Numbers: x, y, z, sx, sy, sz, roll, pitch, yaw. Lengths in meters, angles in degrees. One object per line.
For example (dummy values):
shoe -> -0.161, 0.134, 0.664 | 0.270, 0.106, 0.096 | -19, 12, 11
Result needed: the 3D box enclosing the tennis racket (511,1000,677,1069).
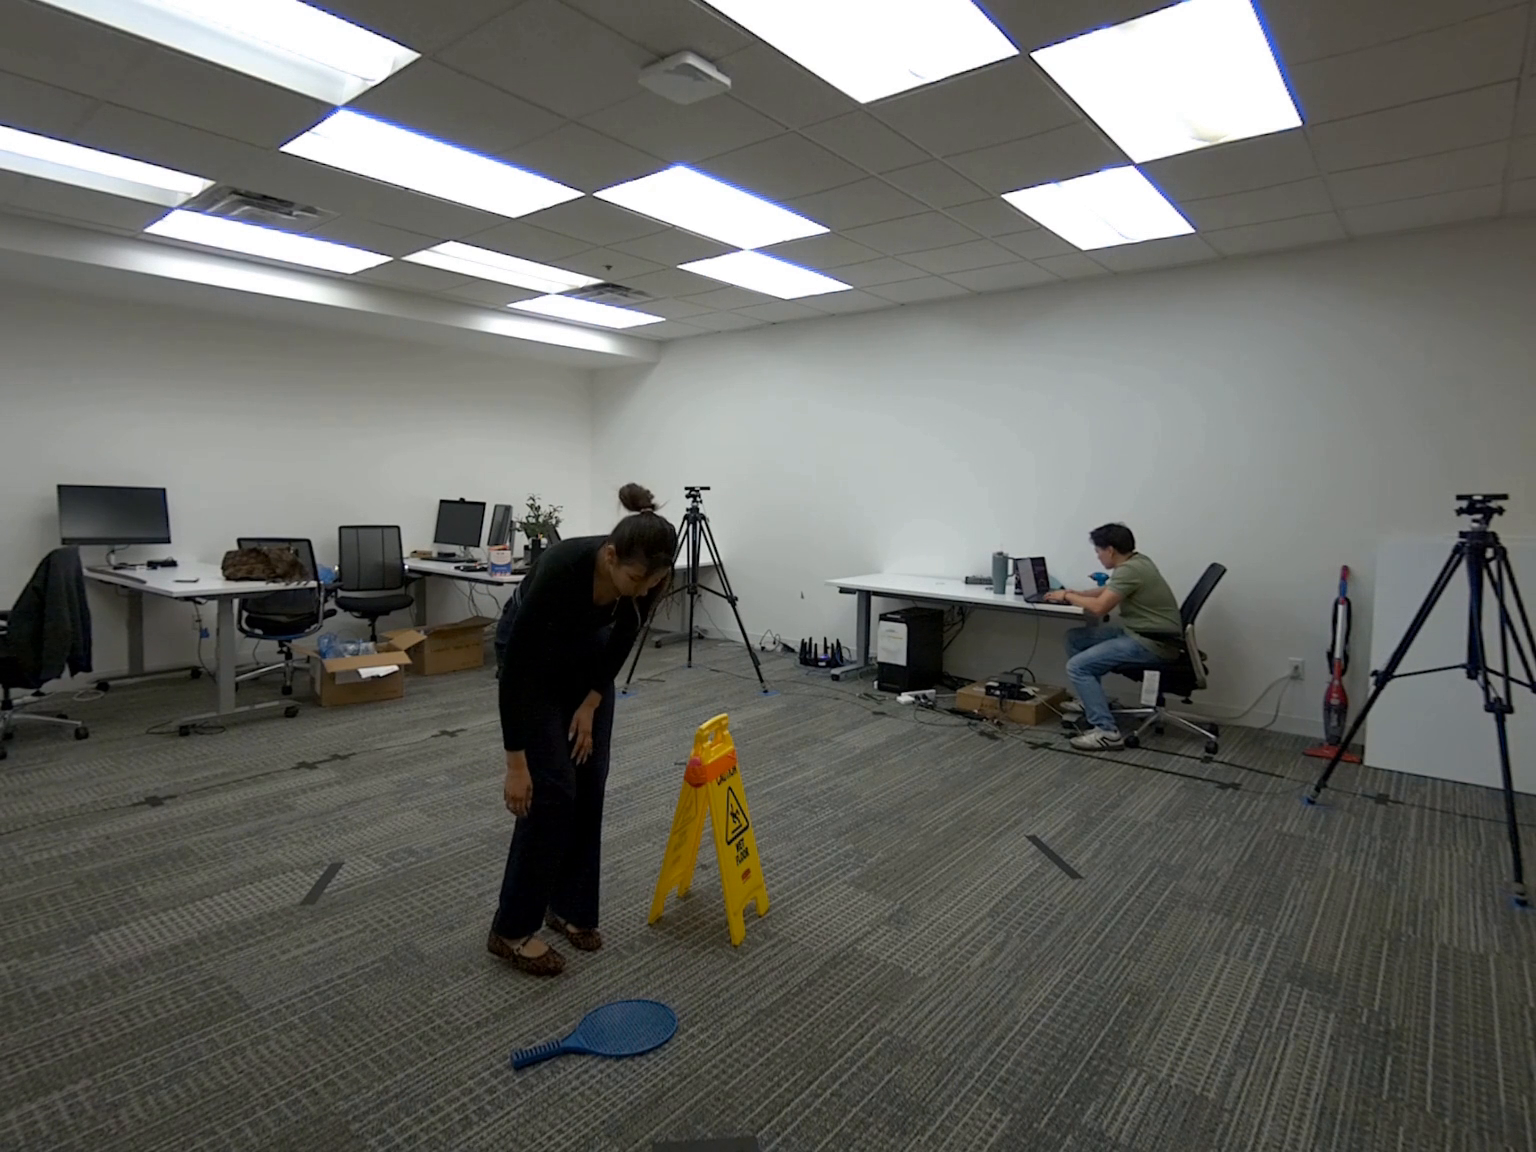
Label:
tennis racket -> -0.434, 1.143, 2.143 | 0.421, 0.031, 0.220 | -1, 6, -29
